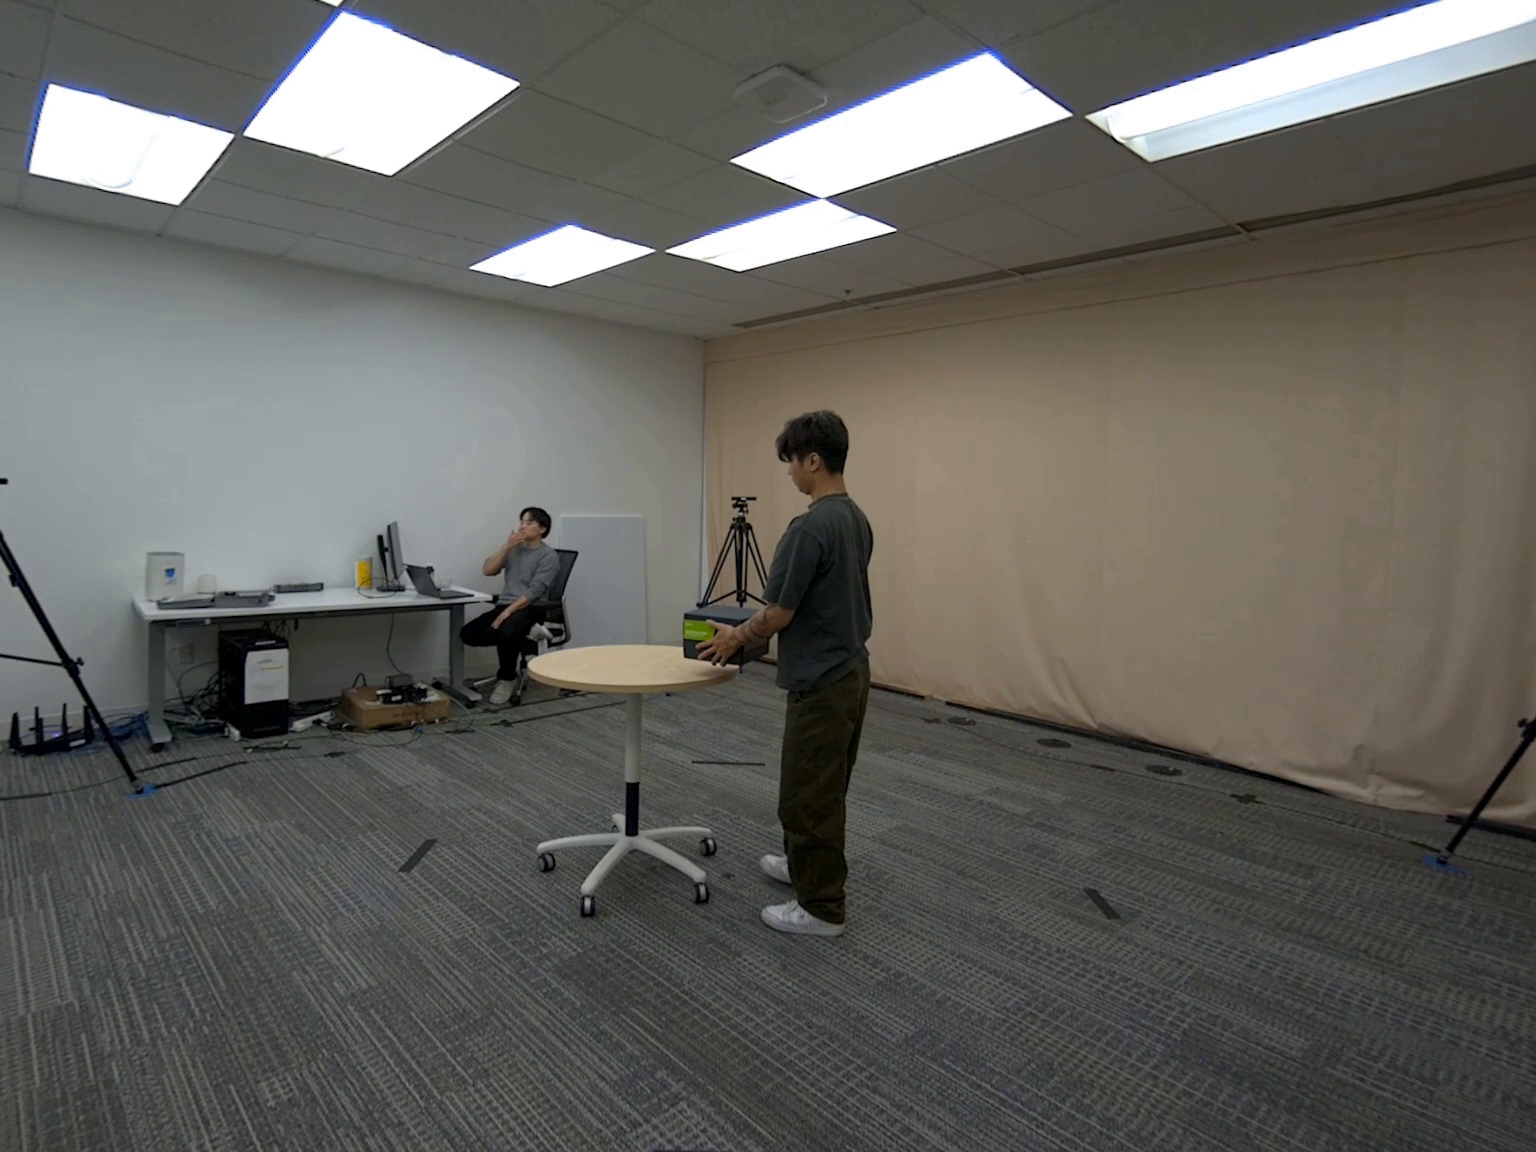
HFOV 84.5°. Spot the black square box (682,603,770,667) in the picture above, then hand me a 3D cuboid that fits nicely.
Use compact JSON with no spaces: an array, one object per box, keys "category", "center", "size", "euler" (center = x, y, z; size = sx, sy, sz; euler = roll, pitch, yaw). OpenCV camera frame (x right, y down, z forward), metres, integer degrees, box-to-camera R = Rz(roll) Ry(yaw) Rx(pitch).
[{"category":"black square box","center":[-0.149,0.199,2.907],"size":[0.232,0.155,0.214],"euler":[4,7,24]}]
